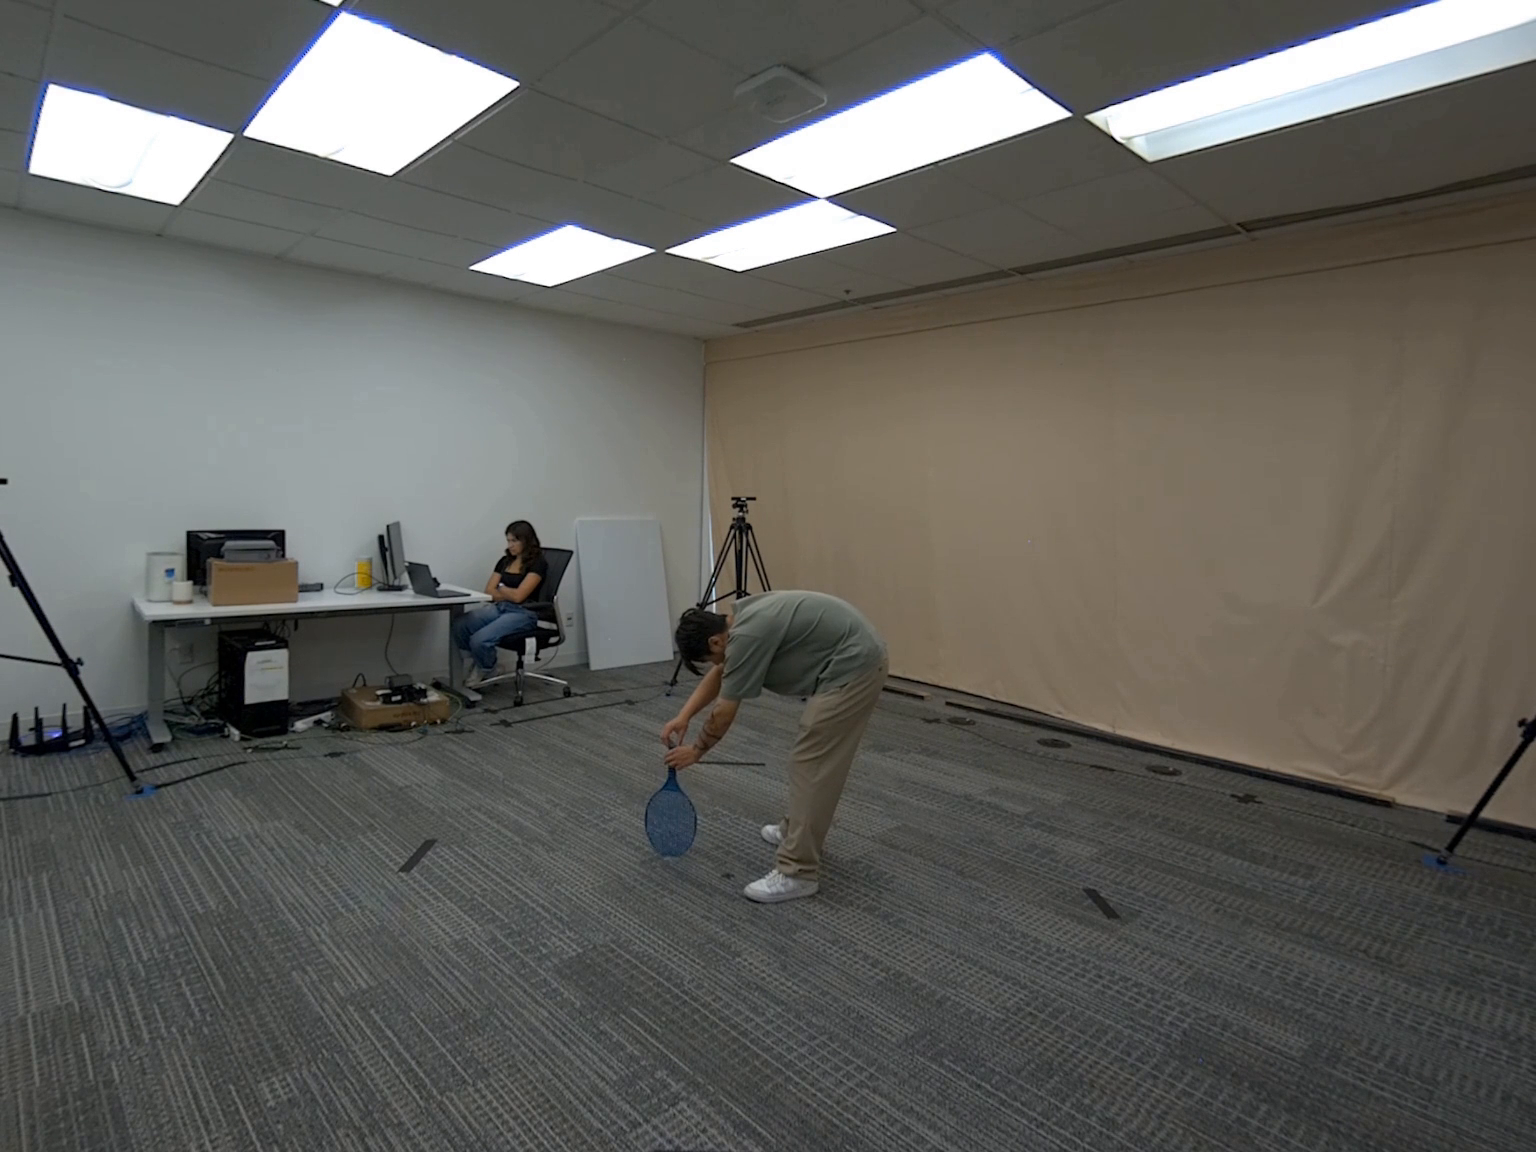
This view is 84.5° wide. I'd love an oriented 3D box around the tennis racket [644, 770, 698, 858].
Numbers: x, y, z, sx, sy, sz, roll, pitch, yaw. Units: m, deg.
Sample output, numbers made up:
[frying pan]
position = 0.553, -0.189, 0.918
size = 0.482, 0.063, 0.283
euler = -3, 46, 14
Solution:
[tennis racket]
position = -0.379, 0.873, 3.260
size = 0.217, 0.432, 0.031
euler = 5, 2, 16
